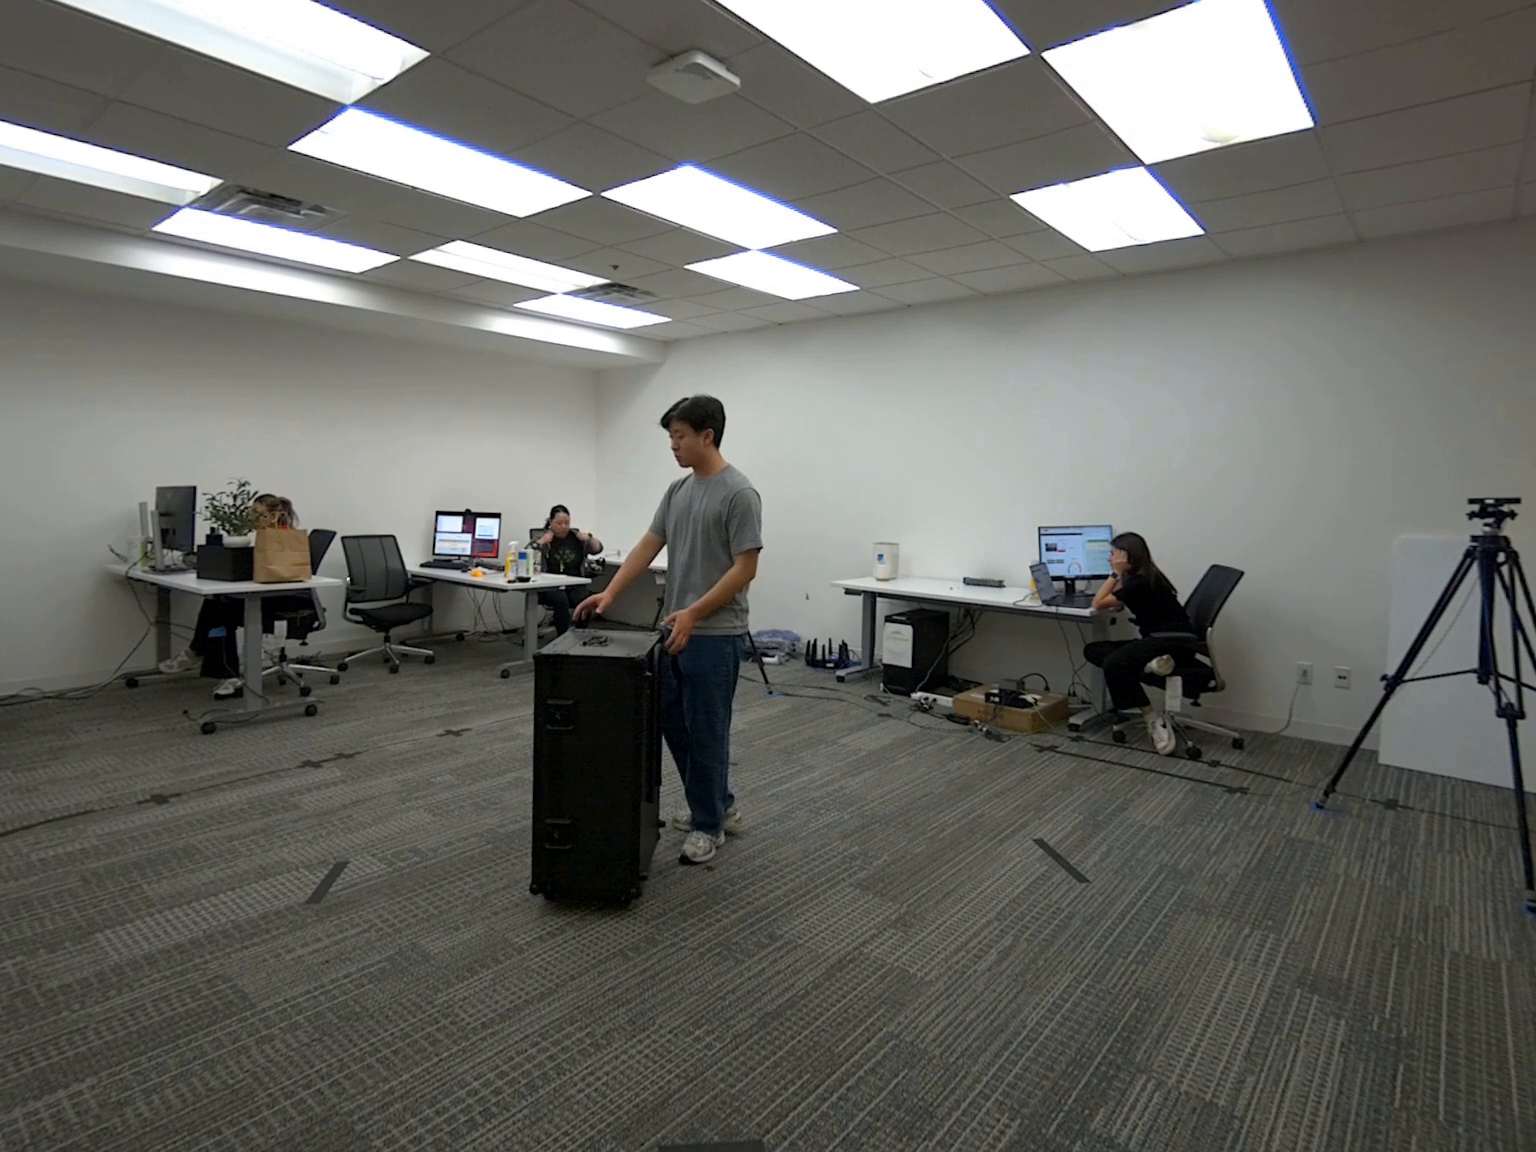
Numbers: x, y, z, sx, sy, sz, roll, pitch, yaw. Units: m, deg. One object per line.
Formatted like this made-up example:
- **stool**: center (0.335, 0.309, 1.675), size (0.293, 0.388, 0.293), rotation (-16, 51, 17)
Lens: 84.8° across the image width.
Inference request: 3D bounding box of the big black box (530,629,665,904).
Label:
- **big black box**: center (-0.585, 0.653, 2.953), size (0.398, 0.860, 0.520), rotation (2, 3, 3)
